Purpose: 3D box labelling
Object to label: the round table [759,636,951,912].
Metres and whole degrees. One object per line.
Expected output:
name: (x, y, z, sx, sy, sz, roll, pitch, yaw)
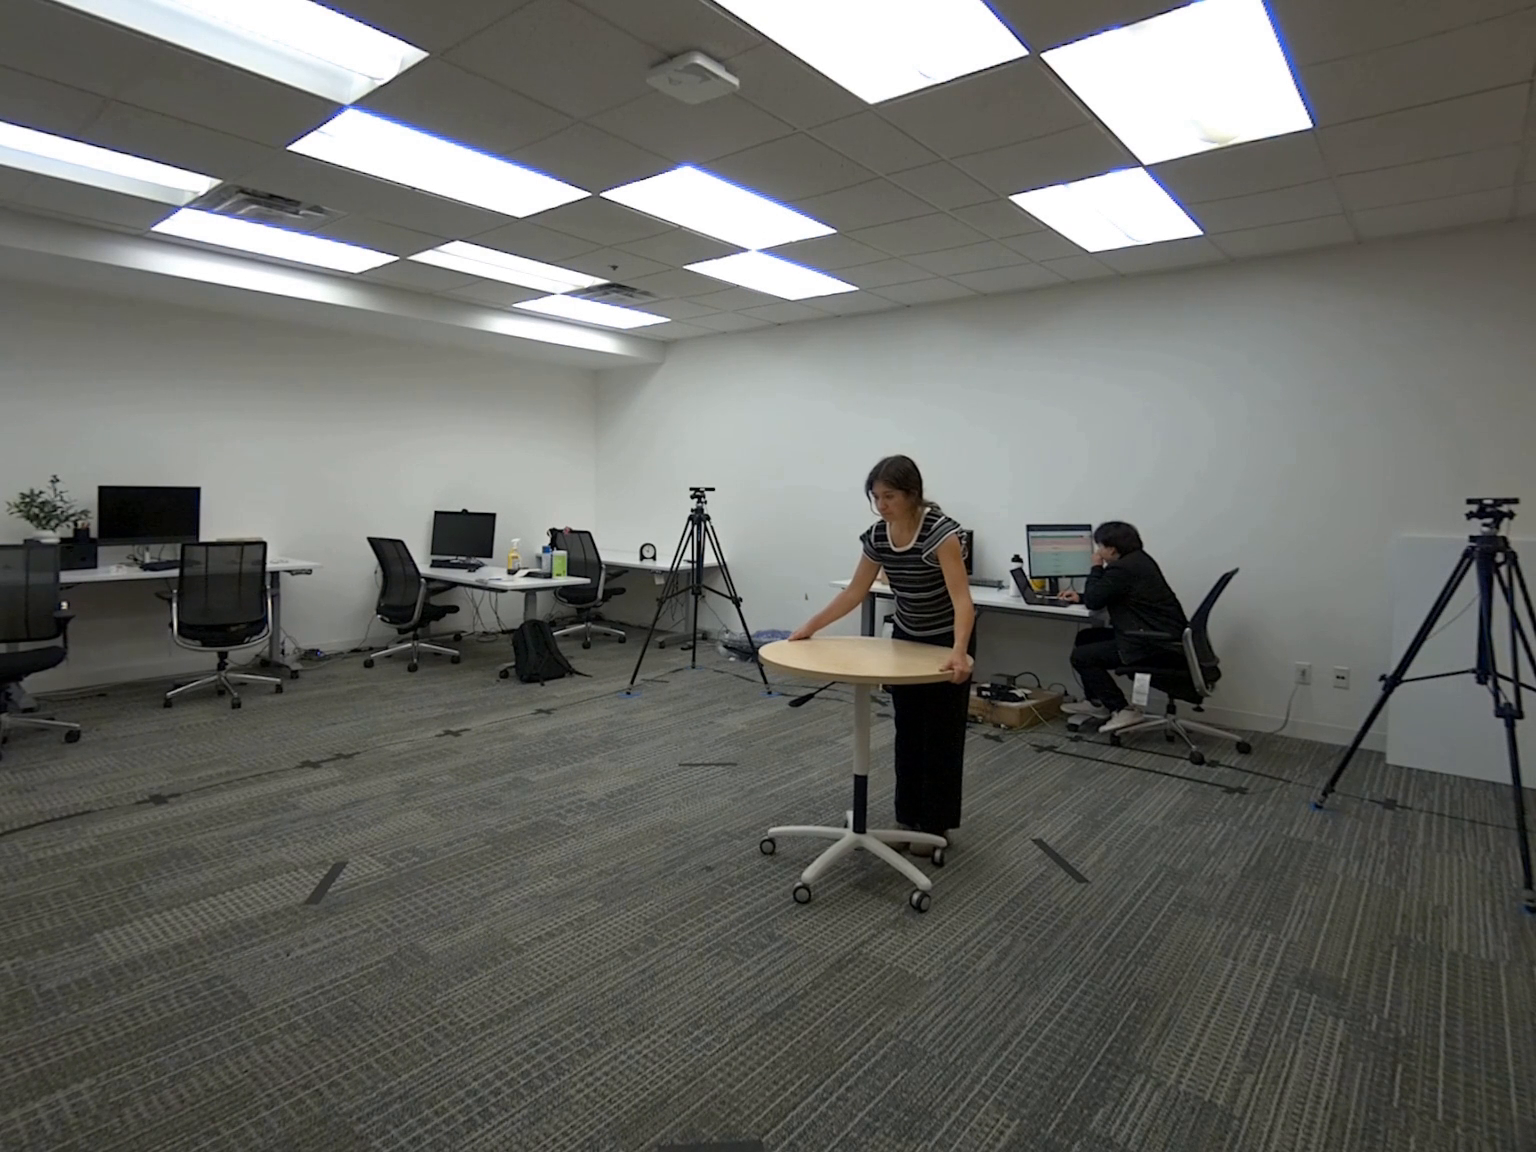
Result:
round table: (0.326, 0.680, 3.114, 0.763, 0.791, 0.768, 1, 4, -2)
